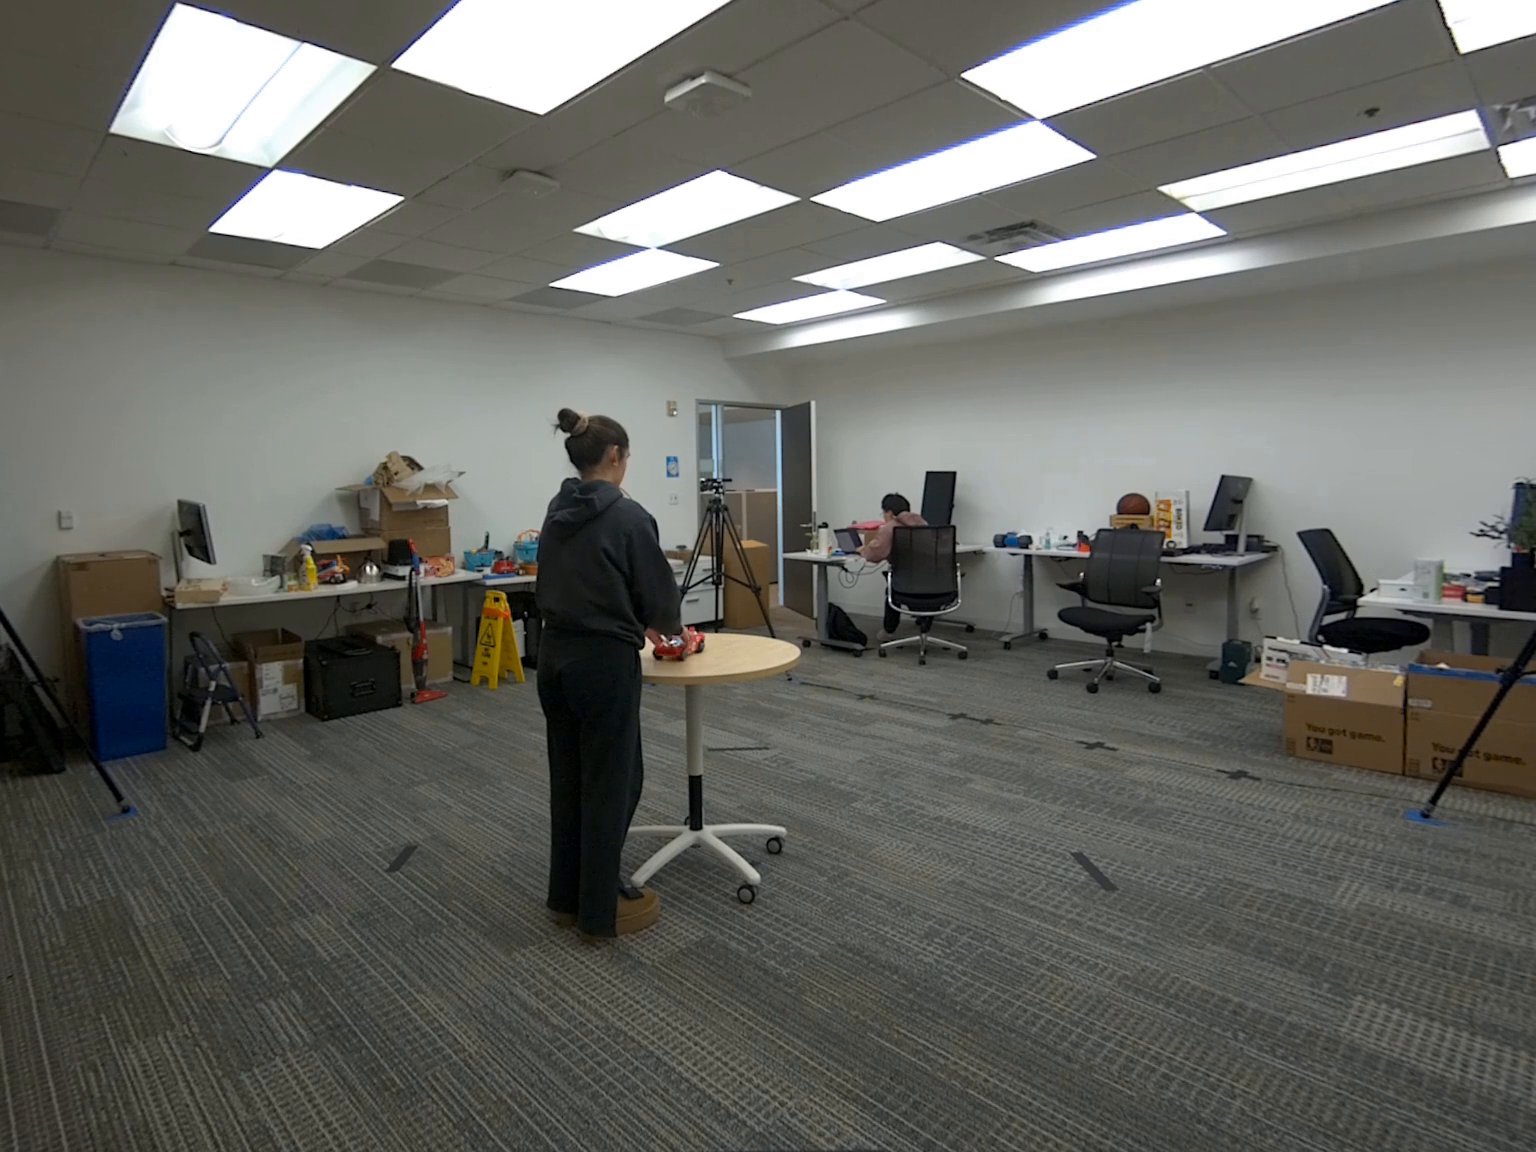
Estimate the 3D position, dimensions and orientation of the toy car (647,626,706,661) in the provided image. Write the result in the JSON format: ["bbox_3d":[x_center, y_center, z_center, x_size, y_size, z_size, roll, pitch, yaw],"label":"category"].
[{"bbox_3d":[-0.299,0.246,3.004,0.132,0.082,0.254,0,17,18],"label":"toy car"}]
